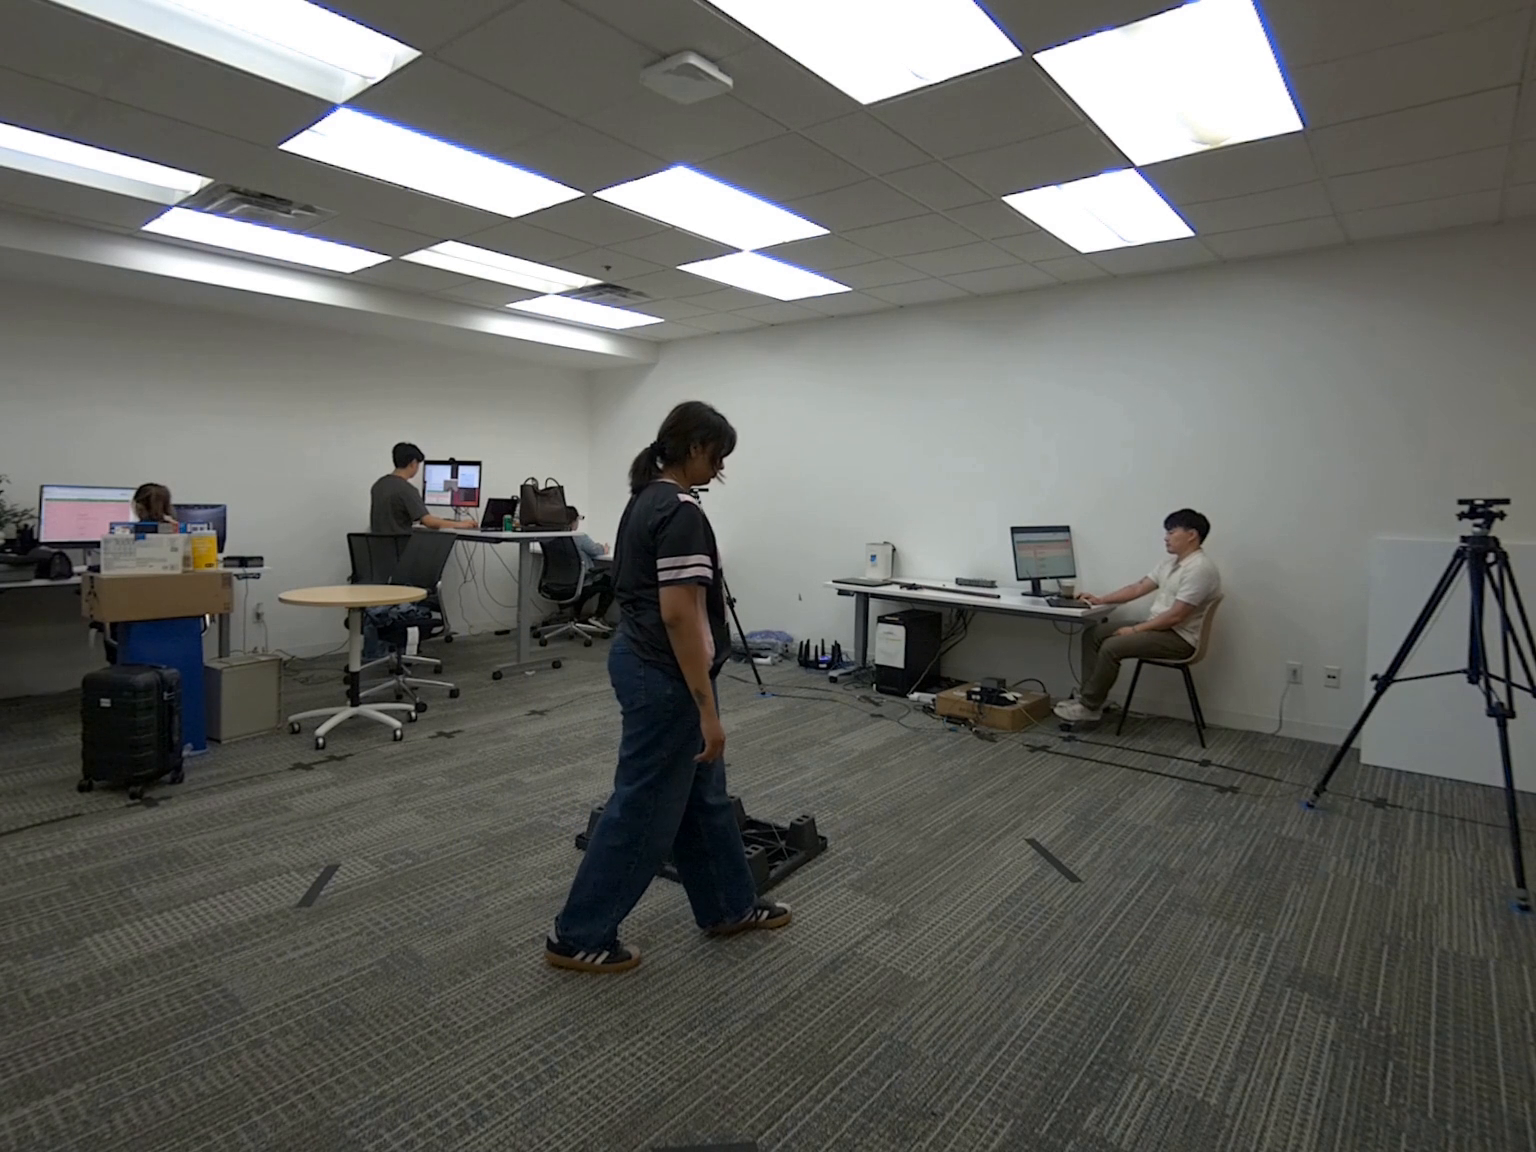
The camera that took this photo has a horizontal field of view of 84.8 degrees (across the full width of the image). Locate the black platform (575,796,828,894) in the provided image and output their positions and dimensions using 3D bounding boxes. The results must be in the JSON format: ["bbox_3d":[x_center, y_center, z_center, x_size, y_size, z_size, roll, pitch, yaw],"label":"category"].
[{"bbox_3d":[-0.257,0.982,3.300,0.831,0.143,0.589,5,7,32],"label":"black platform"}]
